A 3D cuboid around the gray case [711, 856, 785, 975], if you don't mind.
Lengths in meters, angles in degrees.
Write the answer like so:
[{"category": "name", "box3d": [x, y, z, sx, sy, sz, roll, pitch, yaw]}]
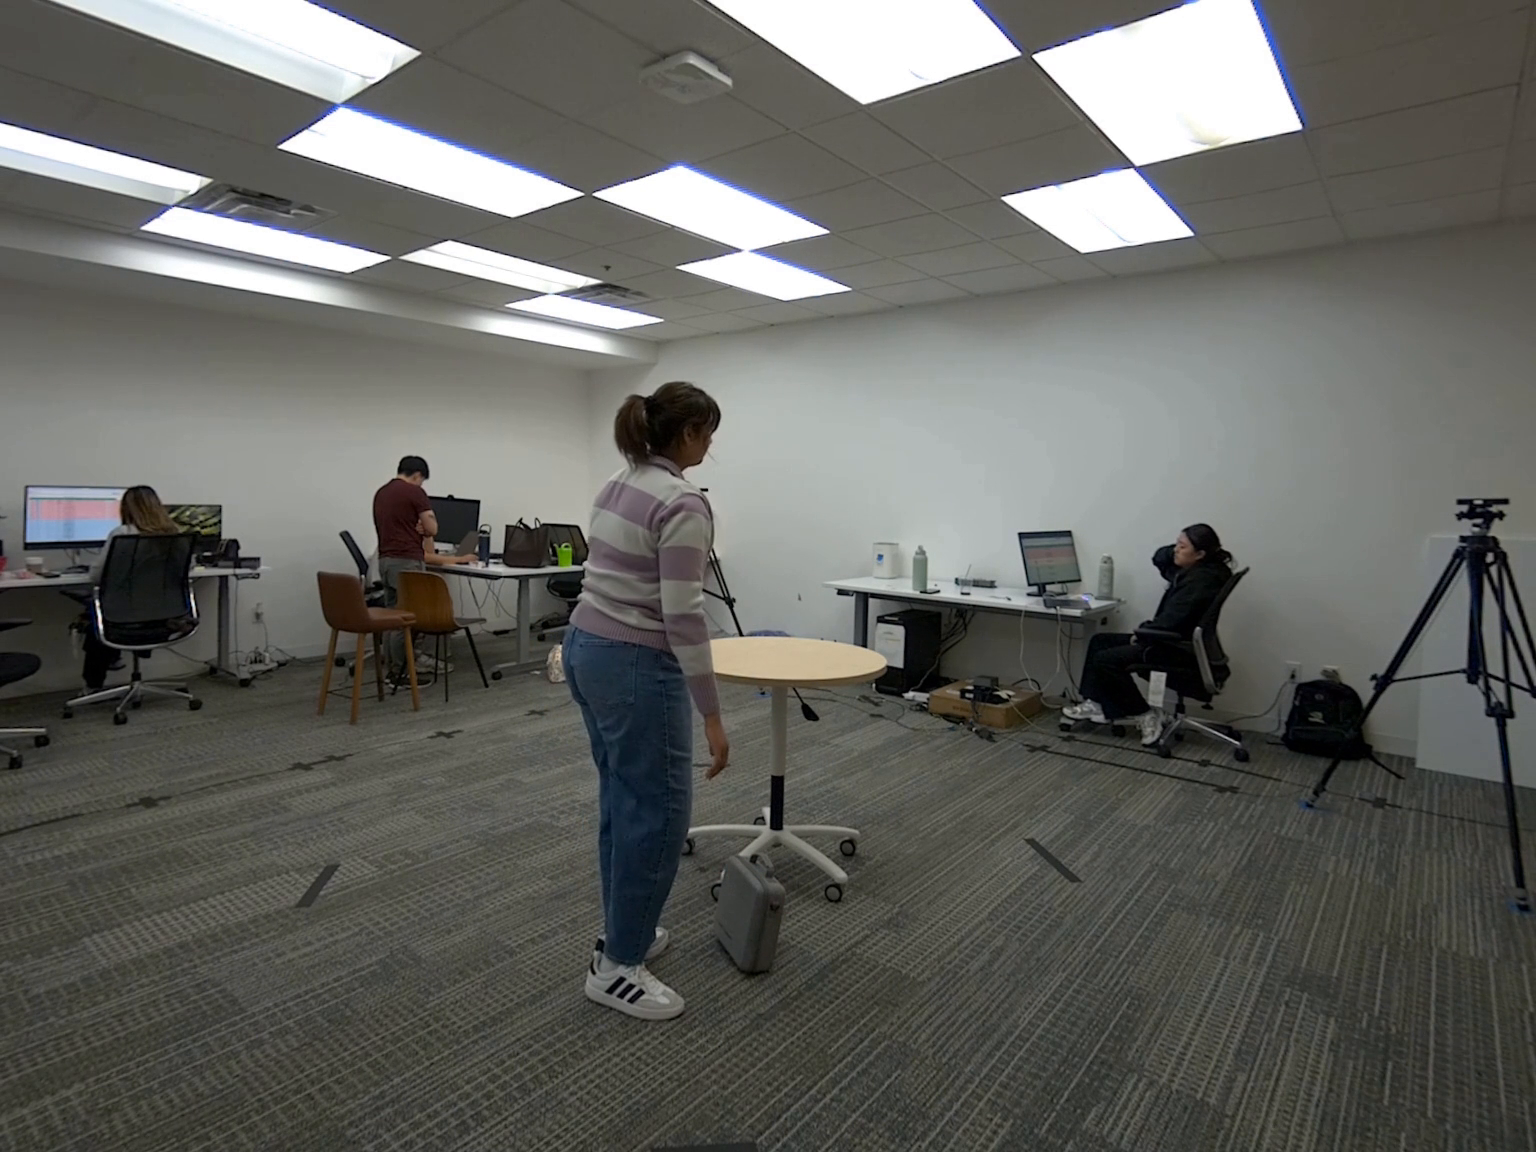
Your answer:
[{"category": "gray case", "box3d": [-0.066, 0.994, 2.542, 0.102, 0.261, 0.263, 11, 0, -24]}]
